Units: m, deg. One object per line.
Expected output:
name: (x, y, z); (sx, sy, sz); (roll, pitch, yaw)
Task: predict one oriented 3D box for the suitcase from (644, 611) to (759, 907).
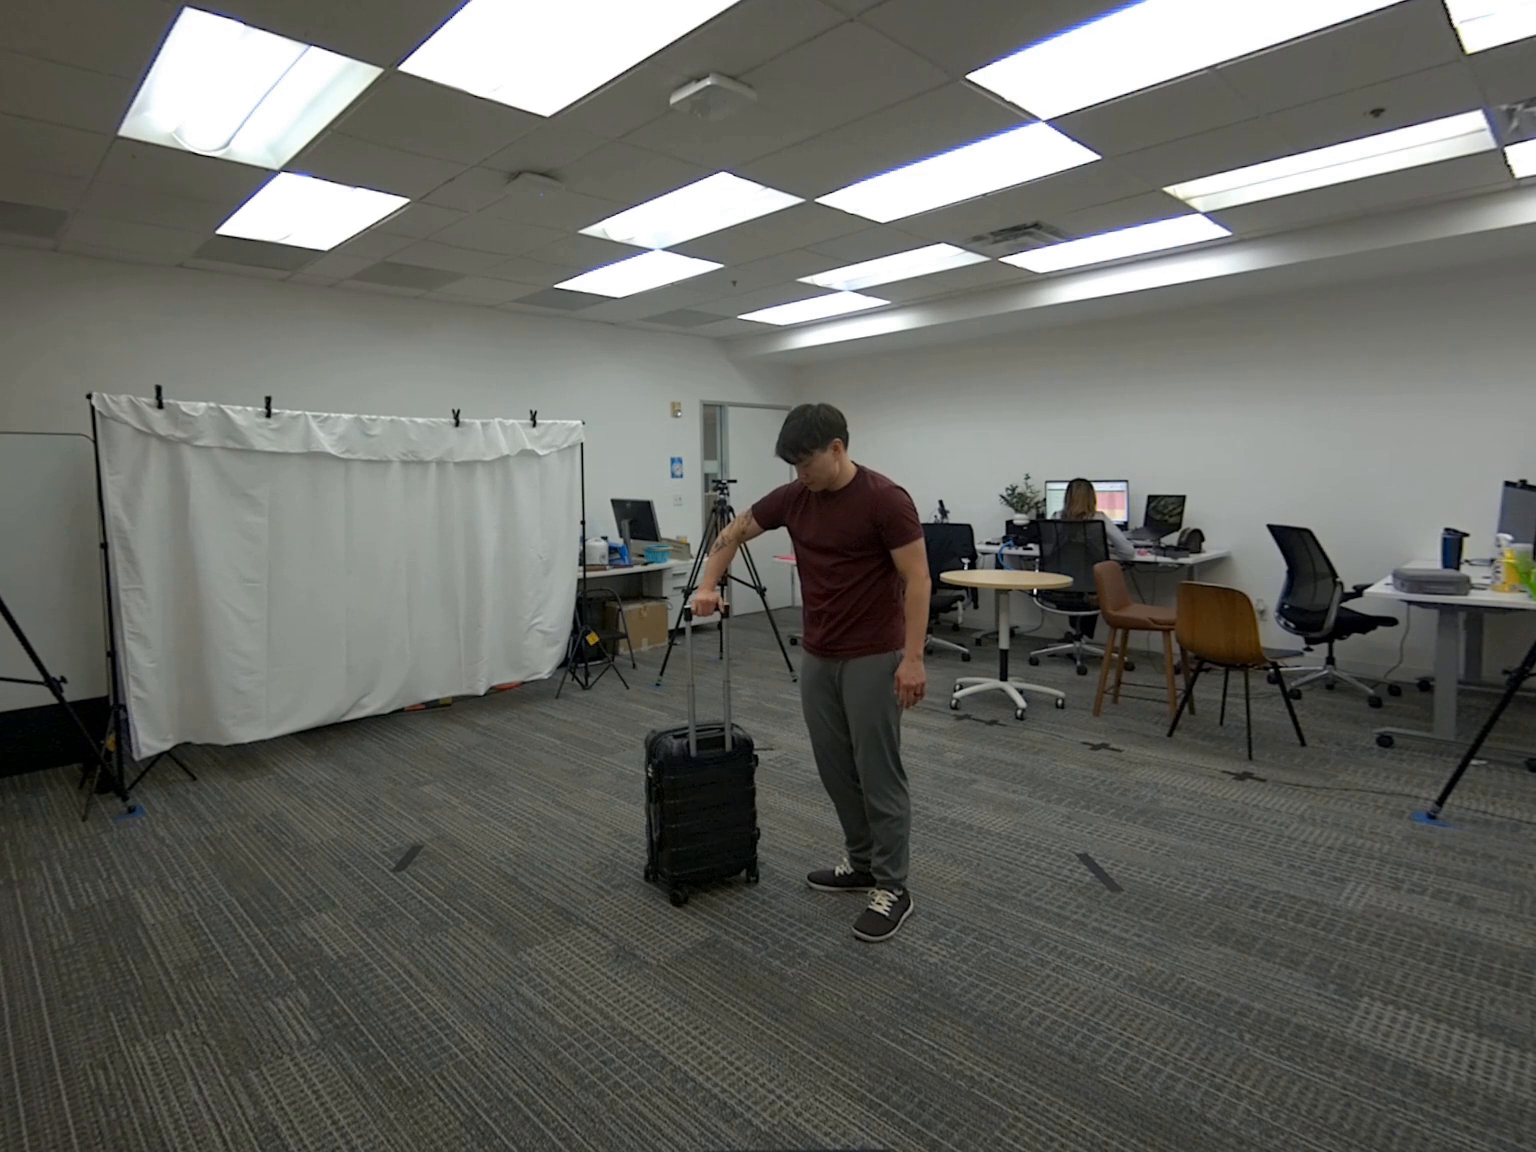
suitcase: (-0.241, 0.590, 2.969); (0.376, 0.977, 0.263); (-2, 2, -25)
